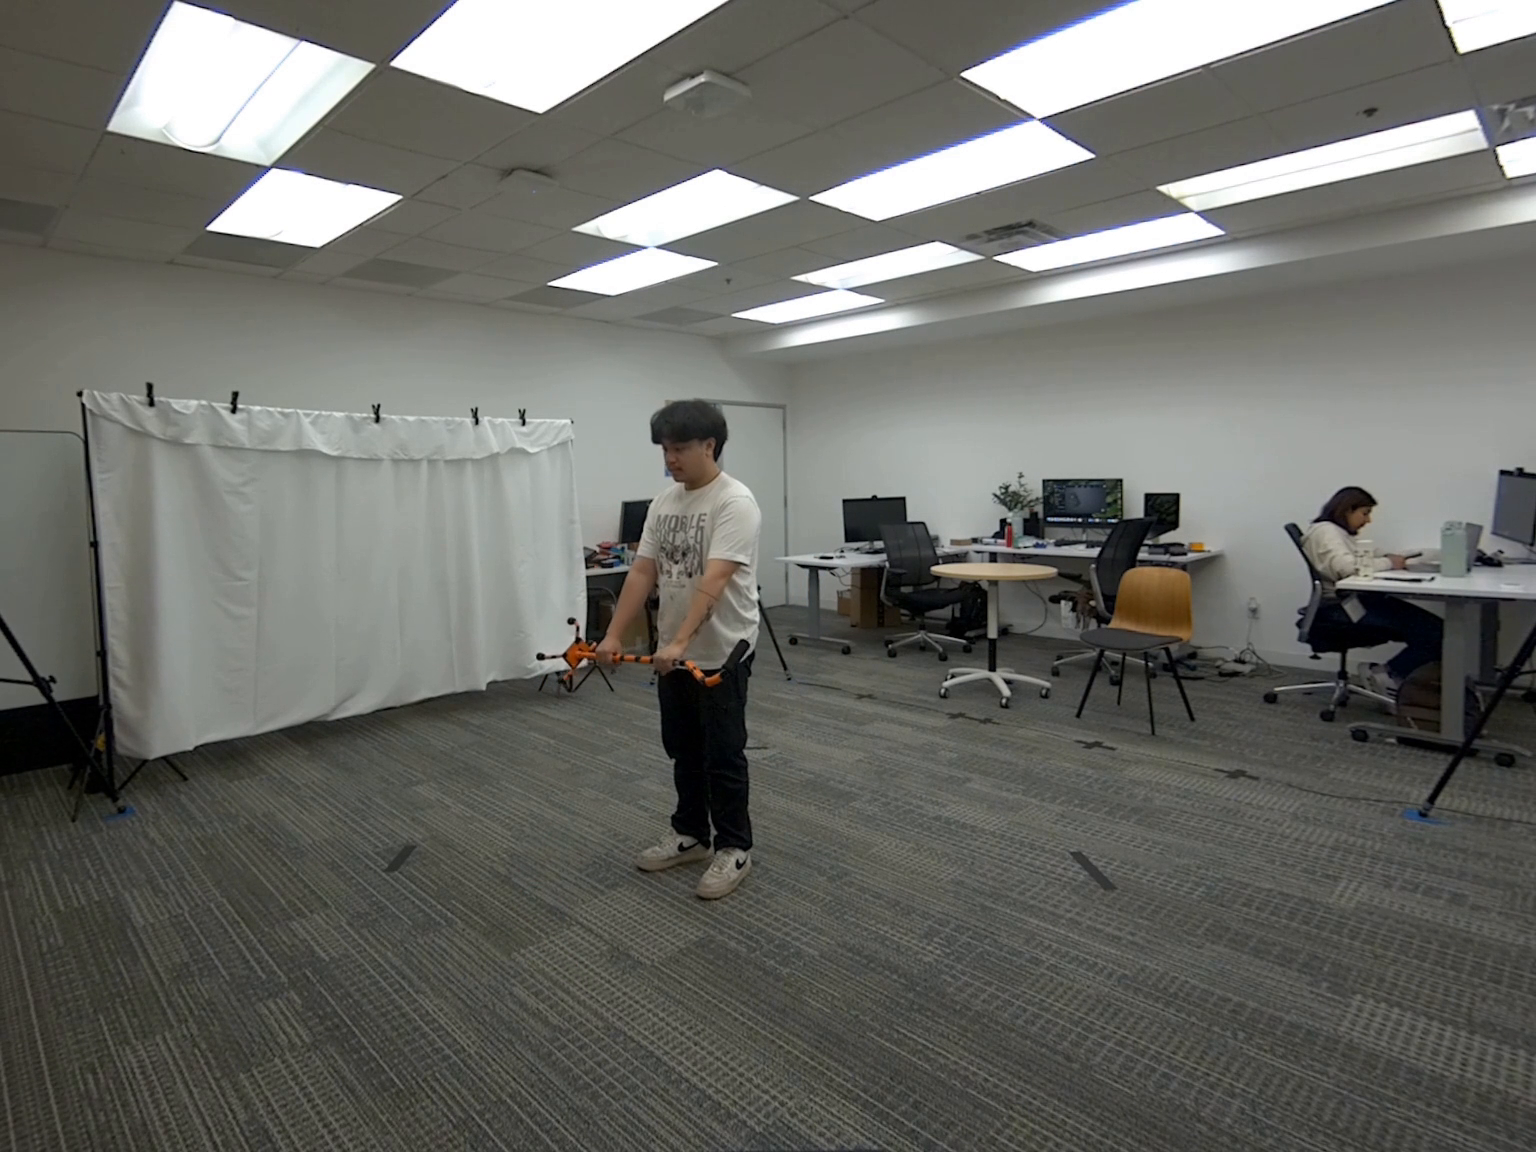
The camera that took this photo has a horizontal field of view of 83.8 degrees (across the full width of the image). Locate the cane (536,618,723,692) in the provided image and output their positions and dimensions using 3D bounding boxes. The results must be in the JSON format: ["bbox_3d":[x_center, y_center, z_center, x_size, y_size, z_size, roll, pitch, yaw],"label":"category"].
[{"bbox_3d":[-0.422,0.265,2.765,0.933,0.147,0.207,-2,42,48],"label":"cane"}]
